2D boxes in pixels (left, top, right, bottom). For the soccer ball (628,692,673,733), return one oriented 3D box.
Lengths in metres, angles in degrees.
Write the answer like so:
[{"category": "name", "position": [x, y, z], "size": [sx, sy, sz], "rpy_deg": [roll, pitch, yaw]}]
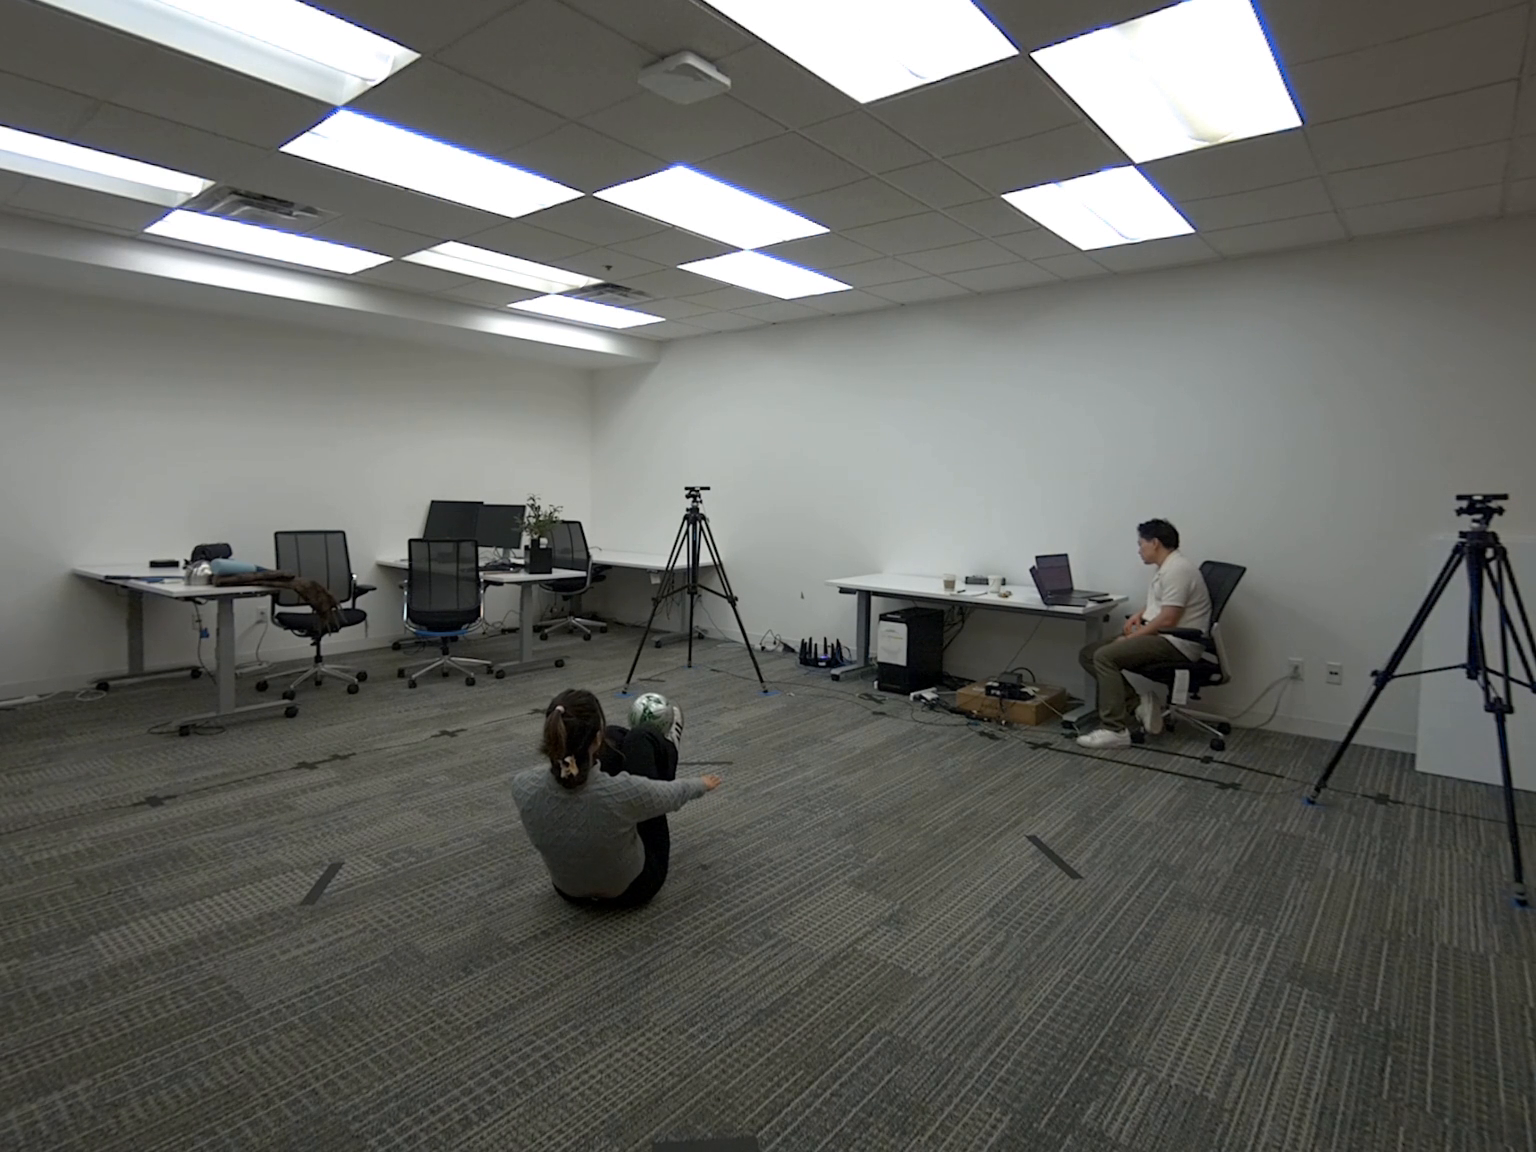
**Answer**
[{"category": "soccer ball", "position": [-0.477, 0.559, 3.388], "size": [0.187, 0.187, 0.188], "rpy_deg": [0, 4, -2]}]
